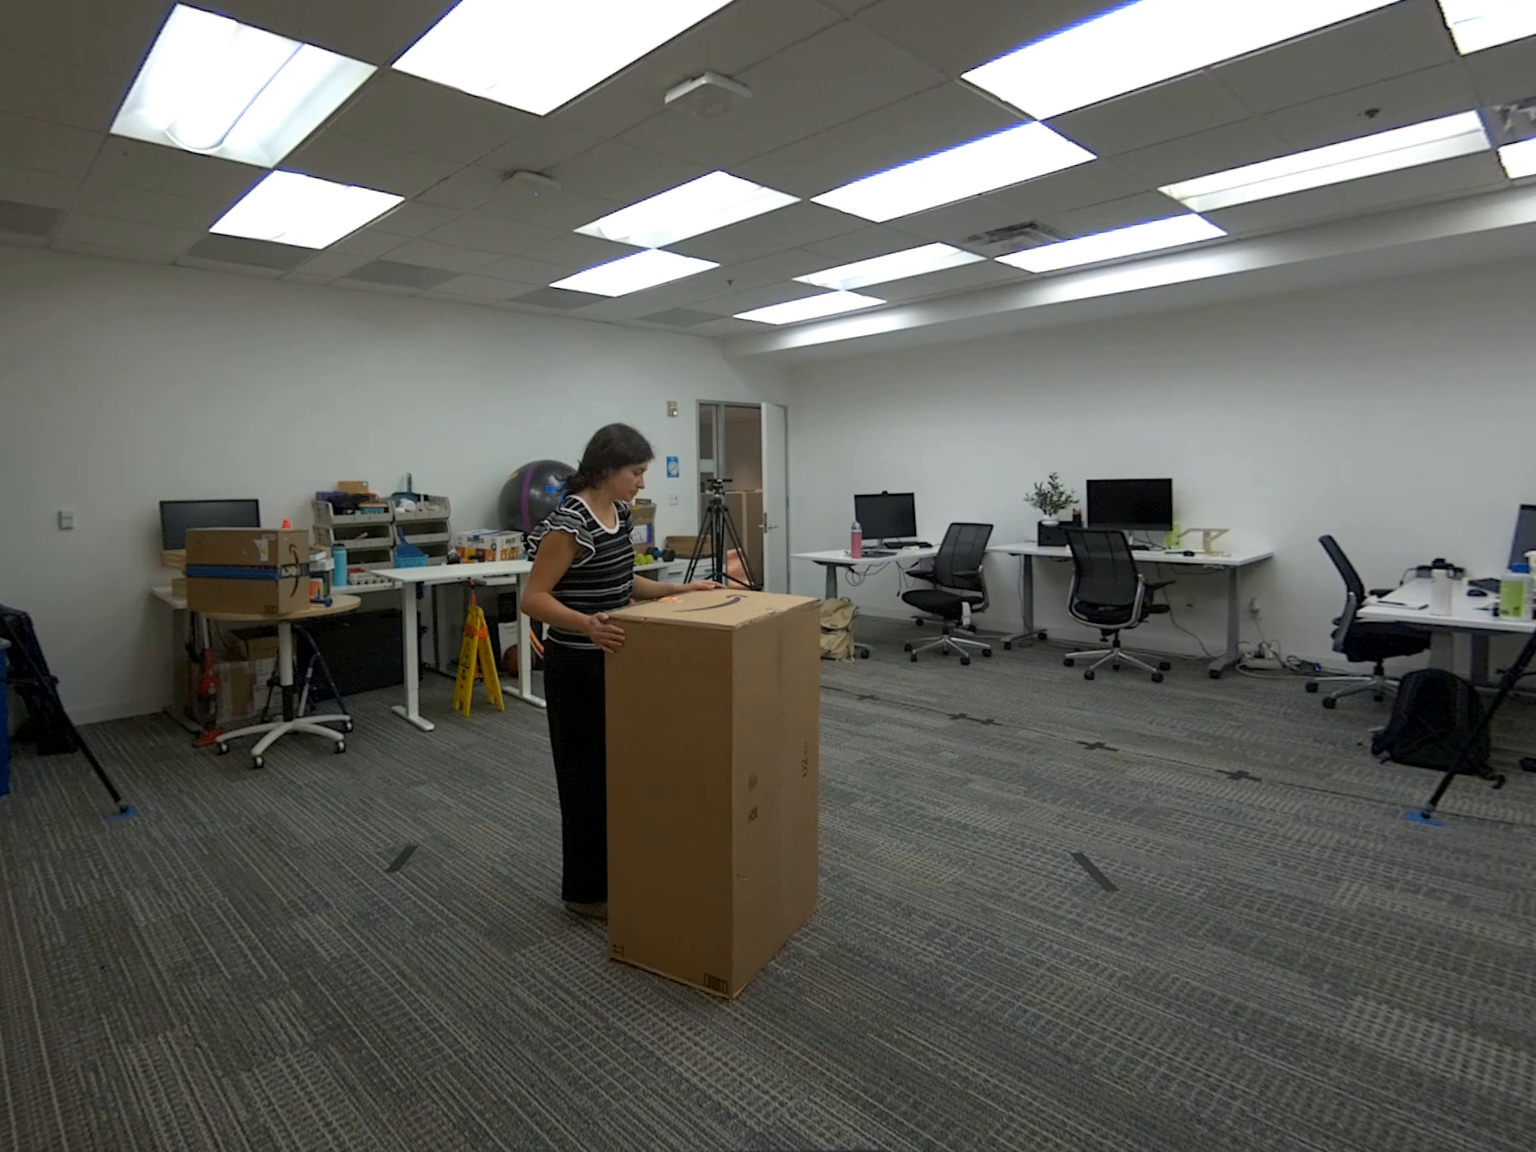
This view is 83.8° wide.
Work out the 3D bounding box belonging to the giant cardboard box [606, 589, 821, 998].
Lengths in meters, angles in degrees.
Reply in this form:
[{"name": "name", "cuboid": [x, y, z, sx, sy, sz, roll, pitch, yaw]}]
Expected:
[{"name": "giant cardboard box", "cuboid": [-0.152, 0.598, 2.598, 0.437, 1.021, 0.565, 3, 6, 29]}]
